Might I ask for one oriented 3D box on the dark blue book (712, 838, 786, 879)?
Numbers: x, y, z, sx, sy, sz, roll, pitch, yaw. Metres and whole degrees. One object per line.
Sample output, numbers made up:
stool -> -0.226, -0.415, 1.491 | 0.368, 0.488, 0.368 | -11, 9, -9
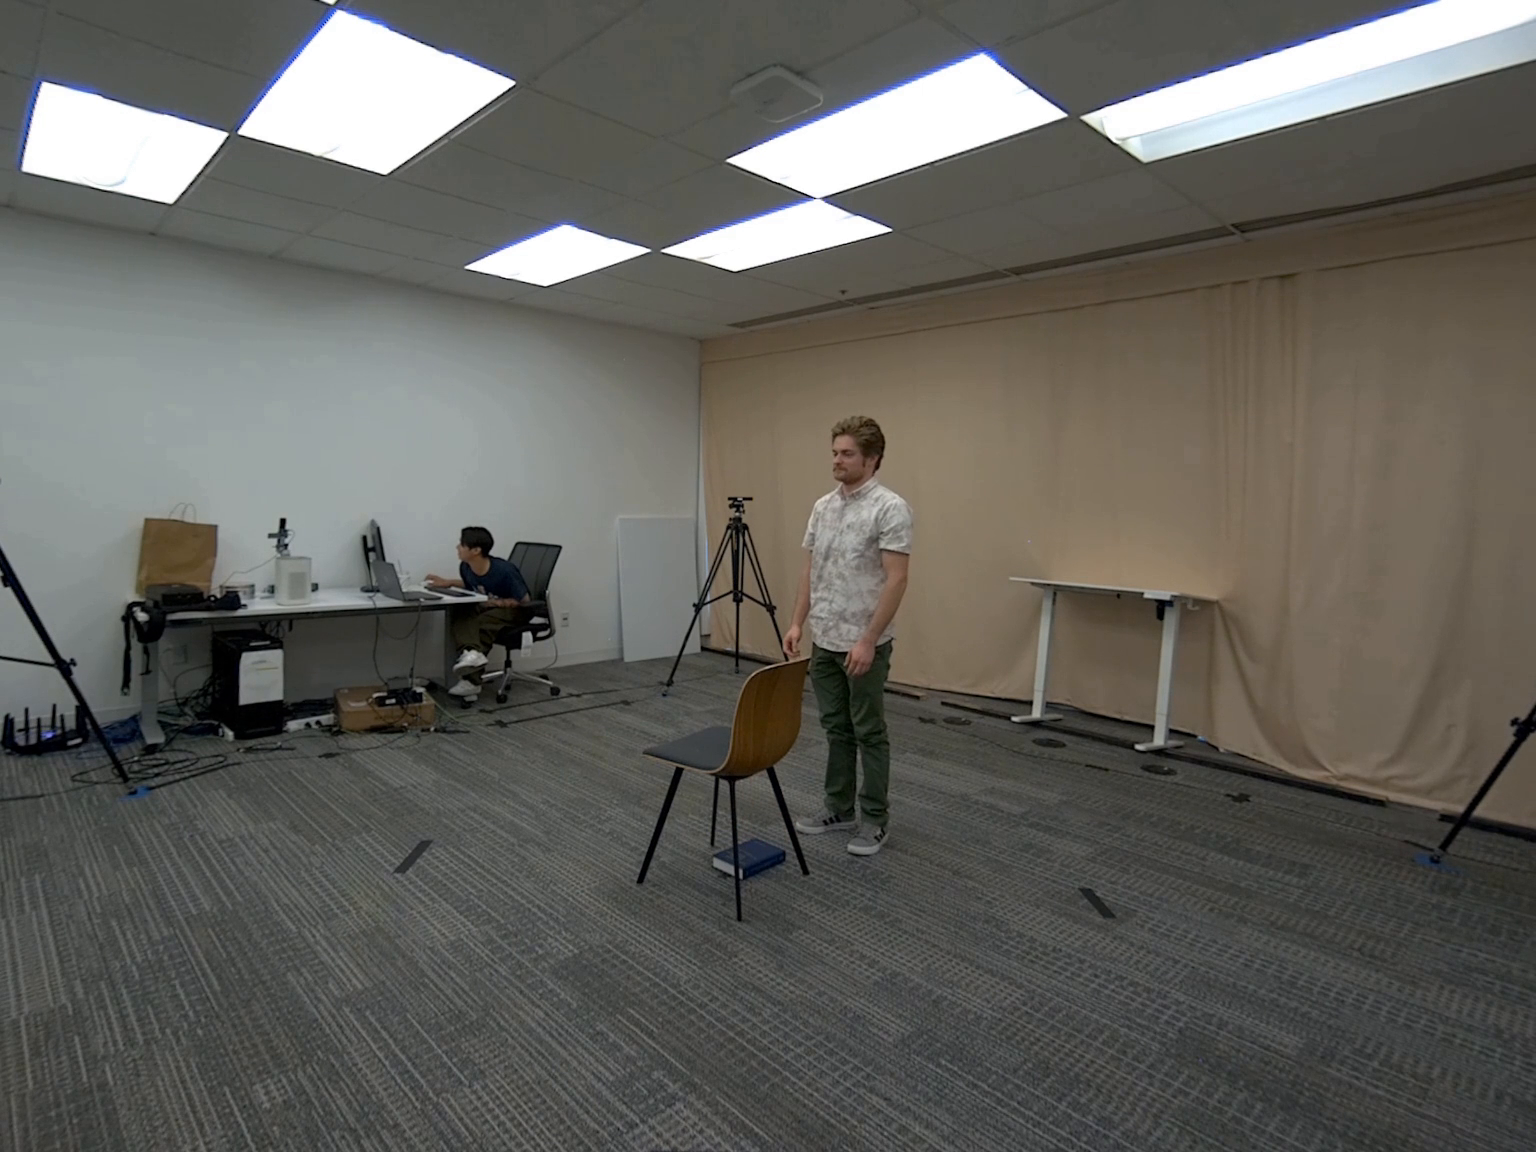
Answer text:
dark blue book -> -0.076, 1.075, 3.205 | 0.167, 0.045, 0.239 | 5, 6, 43
